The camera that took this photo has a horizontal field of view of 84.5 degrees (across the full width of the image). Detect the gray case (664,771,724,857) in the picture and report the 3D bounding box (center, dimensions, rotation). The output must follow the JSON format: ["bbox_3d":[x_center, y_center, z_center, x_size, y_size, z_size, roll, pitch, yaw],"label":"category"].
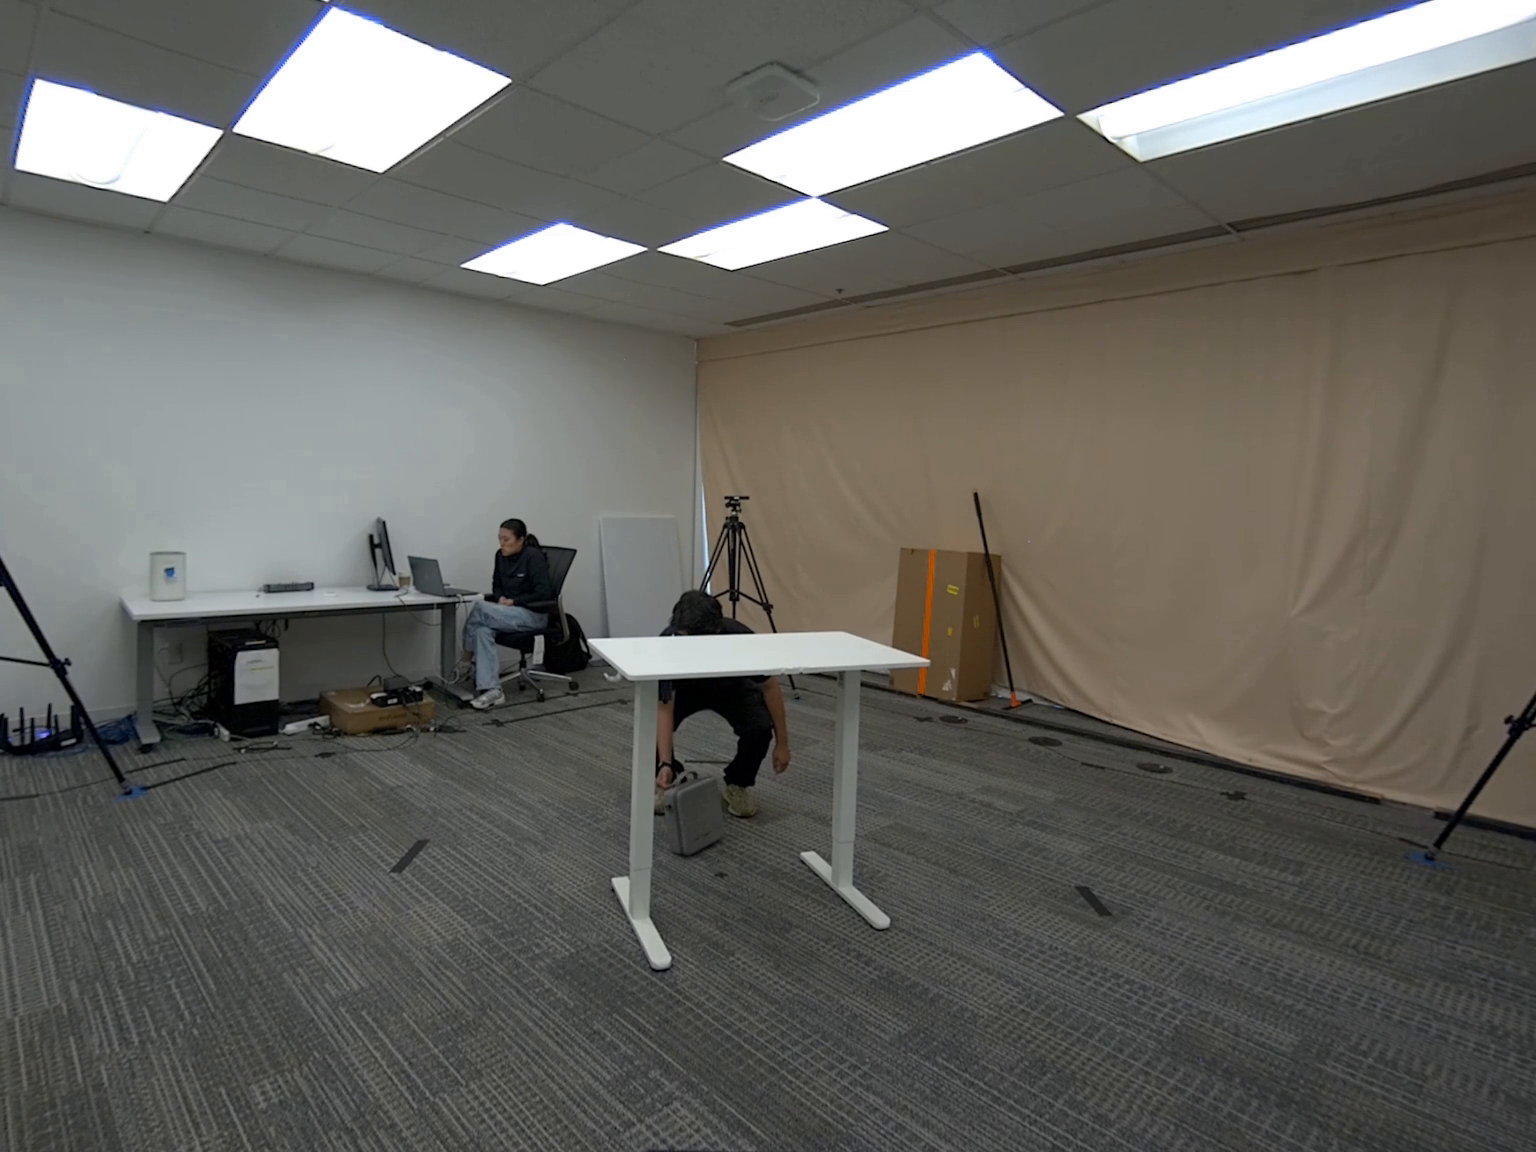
[{"bbox_3d":[-0.305,0.949,3.352,0.106,0.261,0.251,-10,-4,35],"label":"gray case"}]
